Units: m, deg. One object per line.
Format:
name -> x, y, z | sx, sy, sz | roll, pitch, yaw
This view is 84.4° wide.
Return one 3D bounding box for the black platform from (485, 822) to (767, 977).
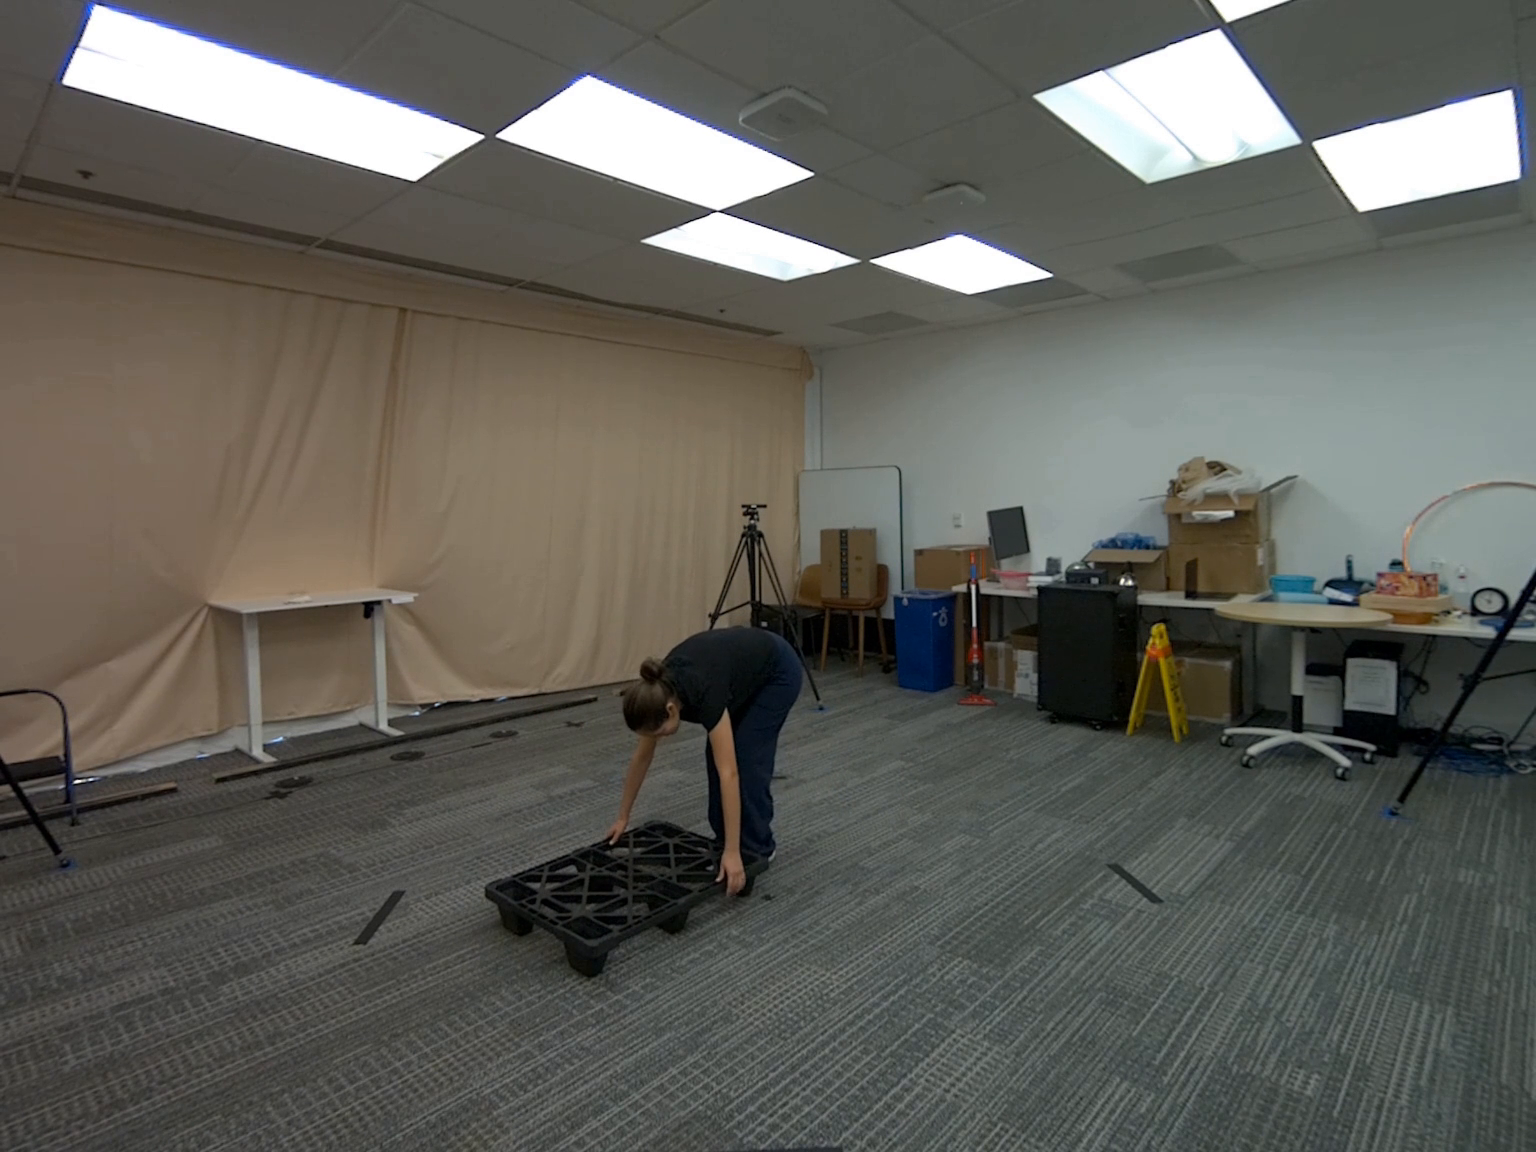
black platform -> -0.456, 1.090, 2.911 | 0.625, 0.143, 0.782 | 4, 7, 42
